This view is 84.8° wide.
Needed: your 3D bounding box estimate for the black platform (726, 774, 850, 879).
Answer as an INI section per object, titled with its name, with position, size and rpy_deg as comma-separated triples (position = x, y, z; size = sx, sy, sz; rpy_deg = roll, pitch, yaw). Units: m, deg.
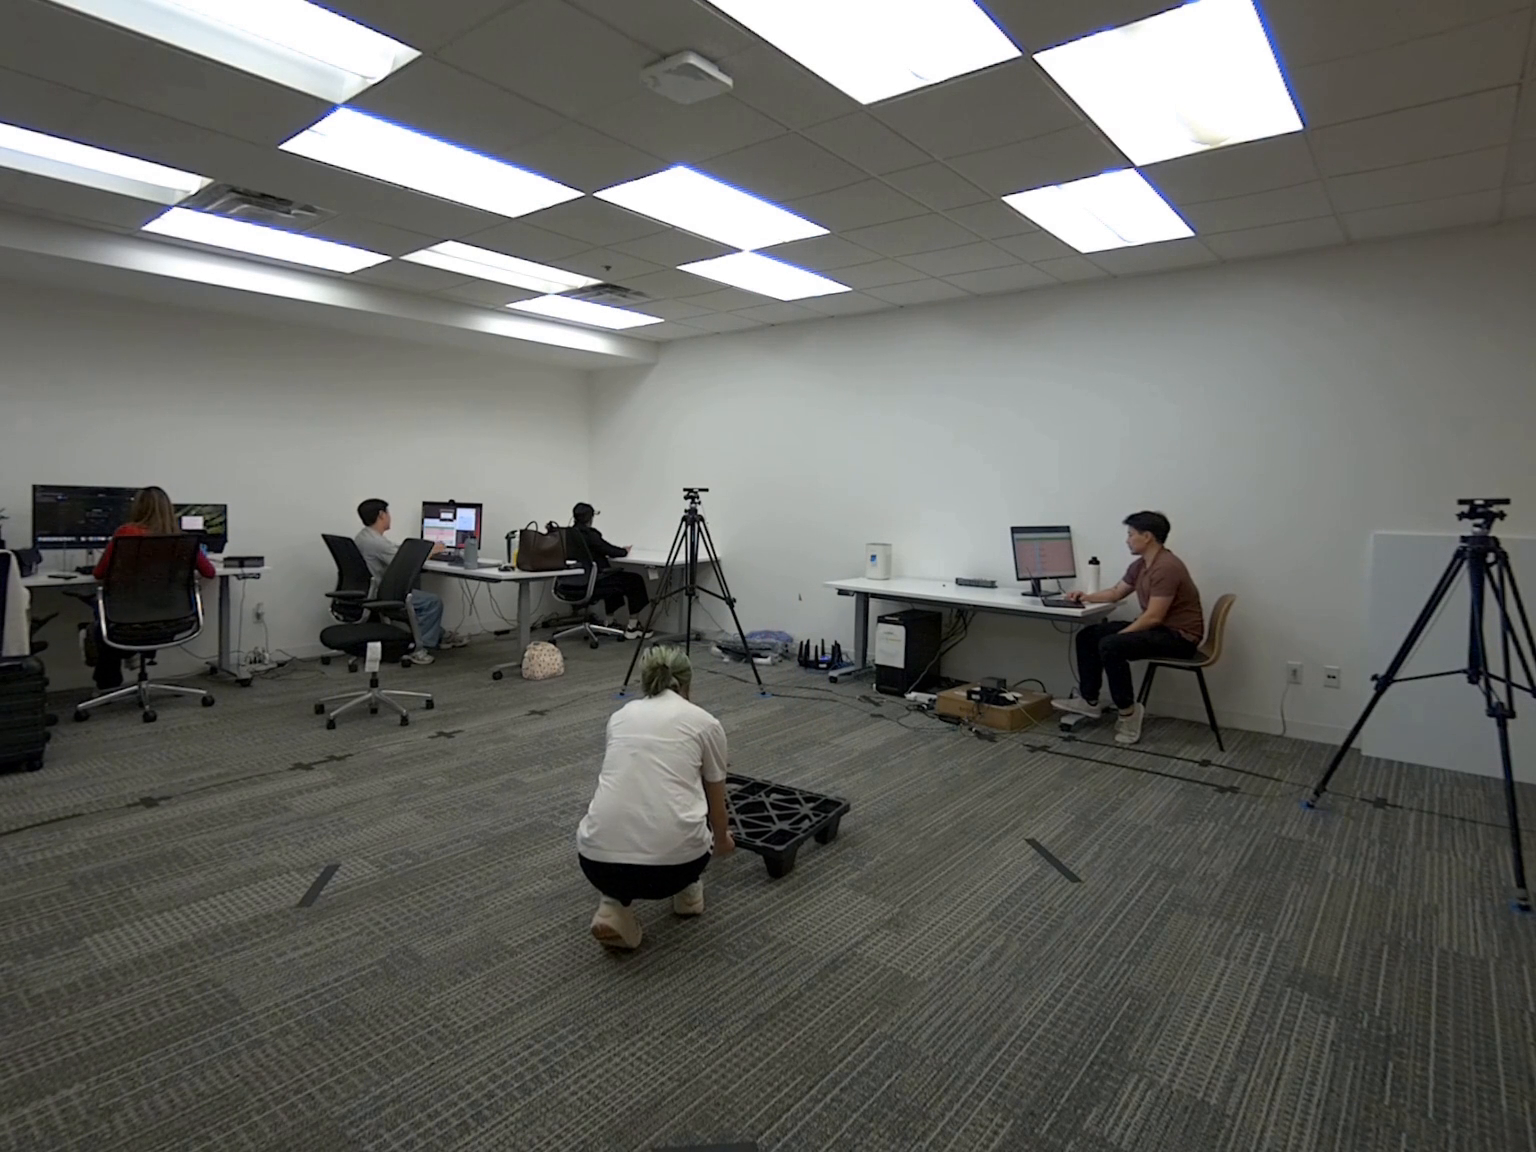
[black platform]
position = -0.157, 0.974, 3.433
size = 0.830, 0.143, 0.589
rpy_deg = 4, 7, 32
